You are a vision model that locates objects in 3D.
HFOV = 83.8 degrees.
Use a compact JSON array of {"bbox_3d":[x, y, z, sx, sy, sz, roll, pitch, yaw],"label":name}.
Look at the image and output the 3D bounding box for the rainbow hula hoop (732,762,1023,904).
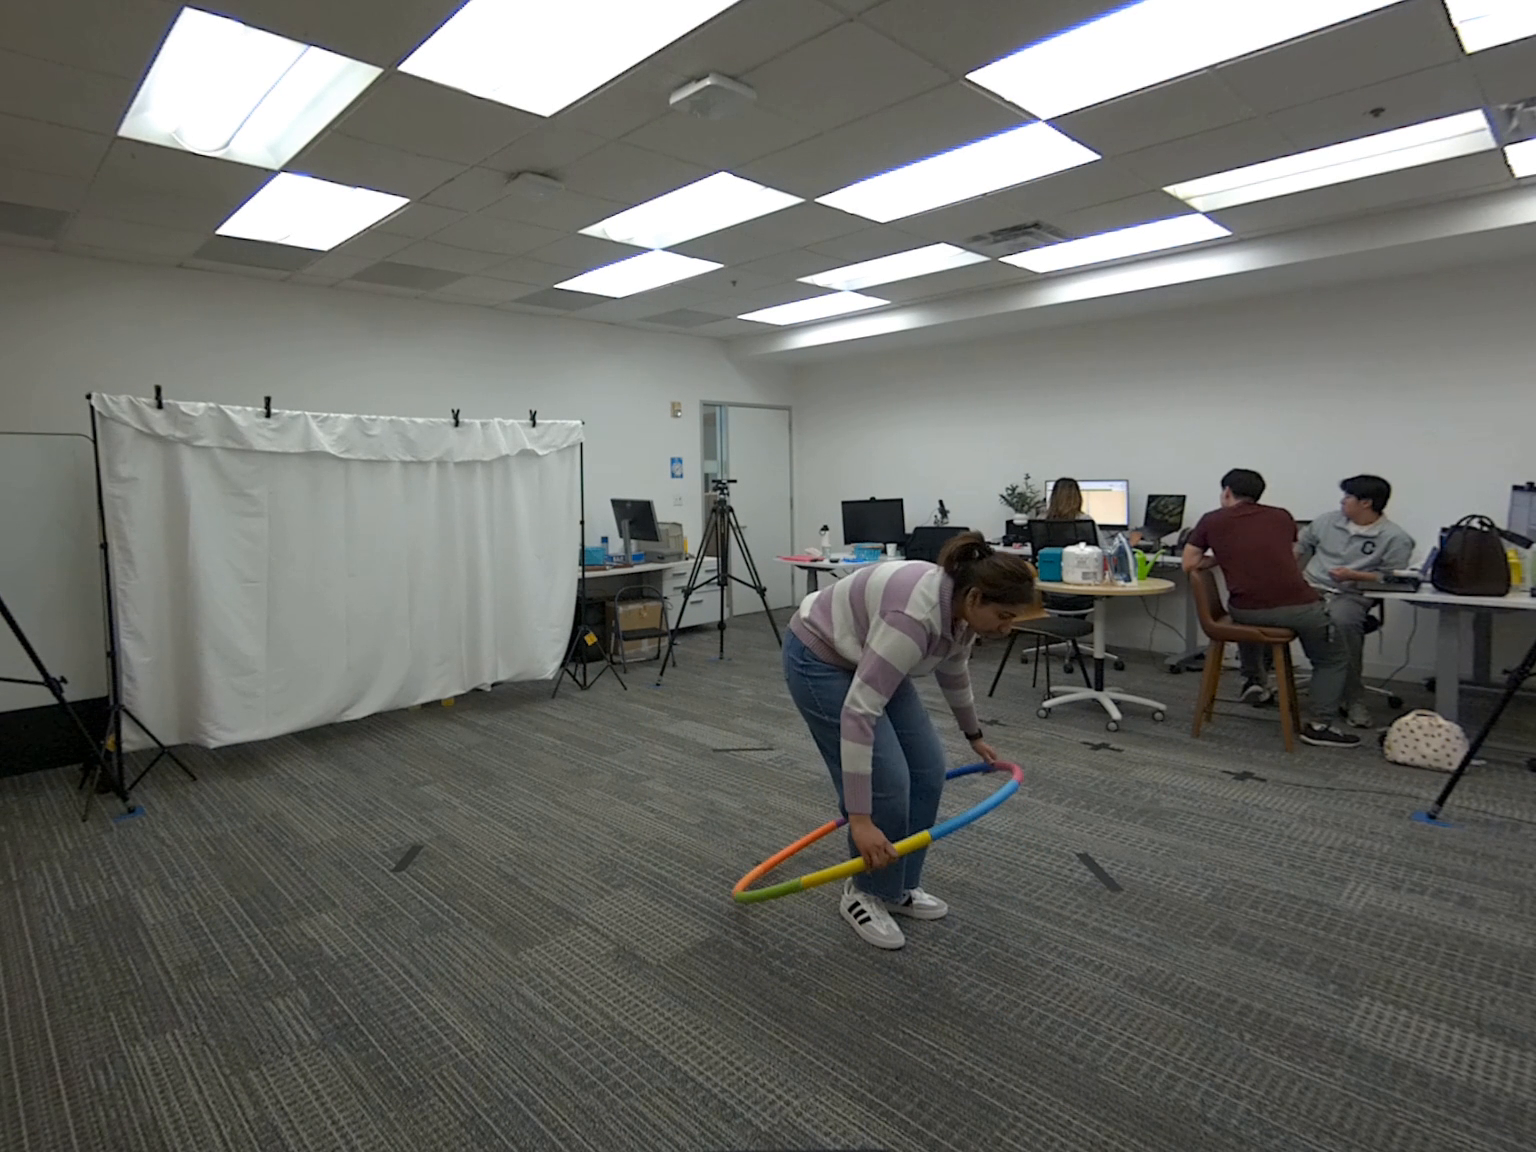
[{"bbox_3d":[0.335,0.799,2.708,0.975,0.036,0.969,-23,-9,-6],"label":"rainbow hula hoop"}]
